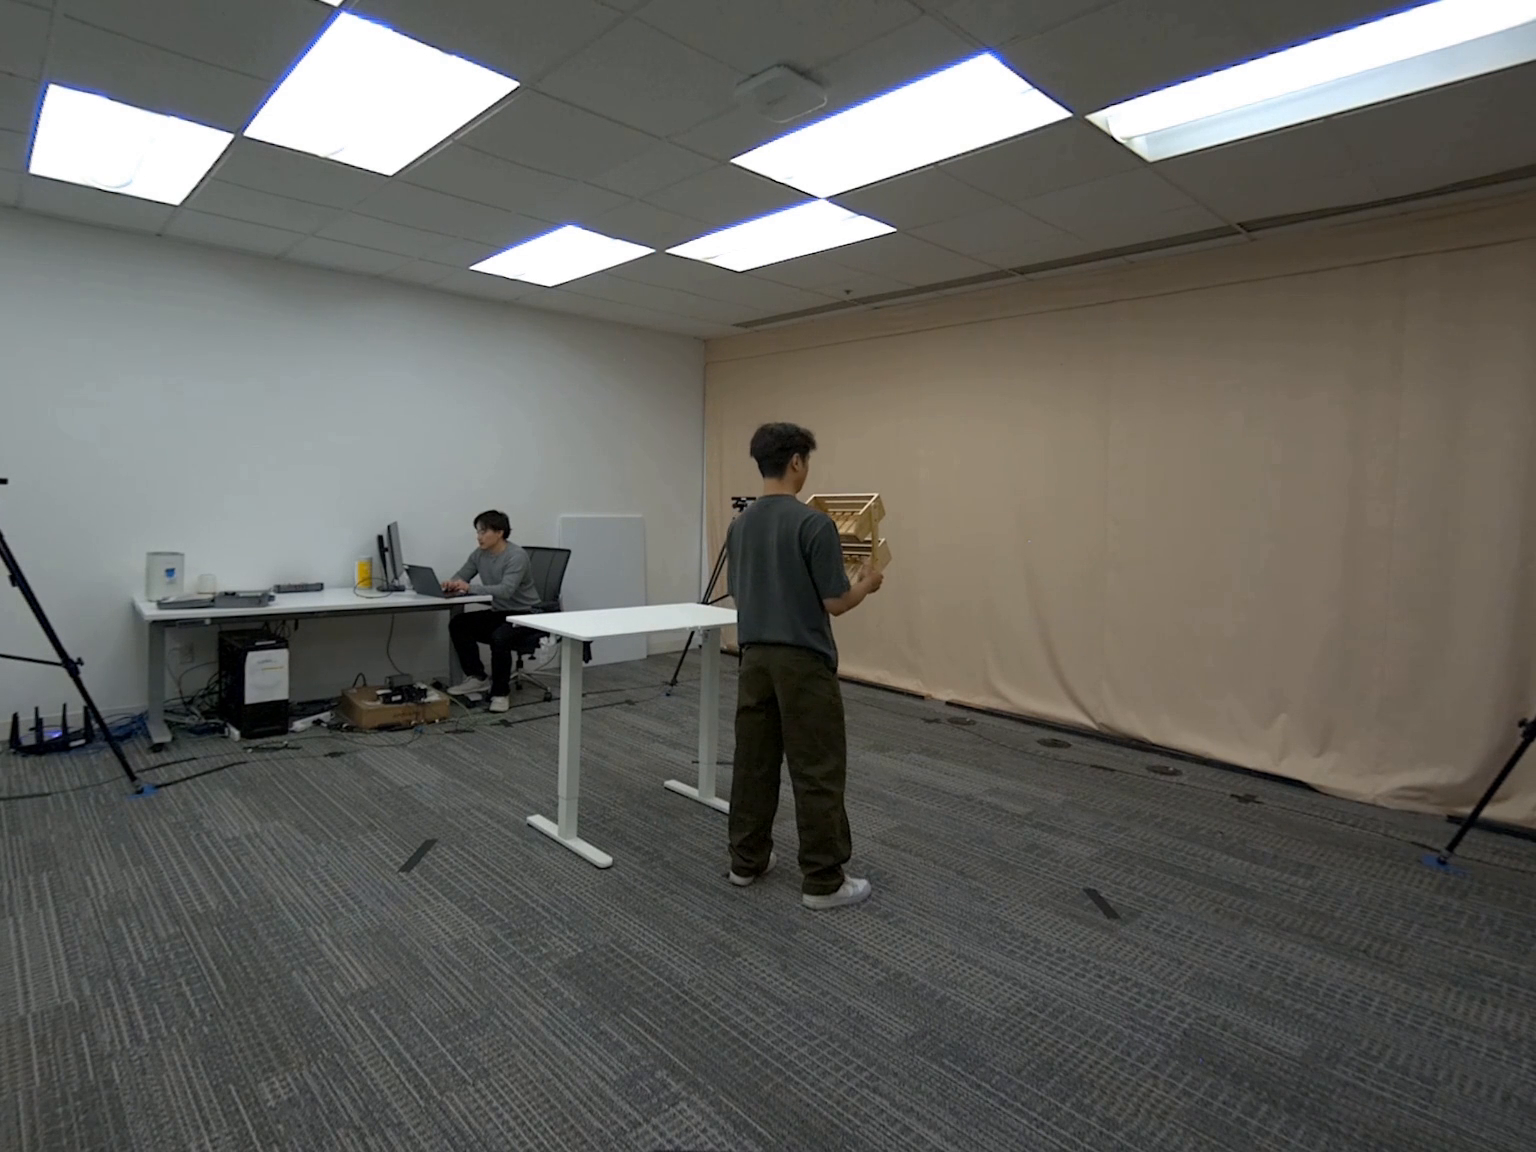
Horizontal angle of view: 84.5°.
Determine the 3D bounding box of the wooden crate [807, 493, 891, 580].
[{"bbox_3d":[0.252,-0.123,3.178,0.332,0.267,0.302,2,36,41],"label":"wooden crate"}]
